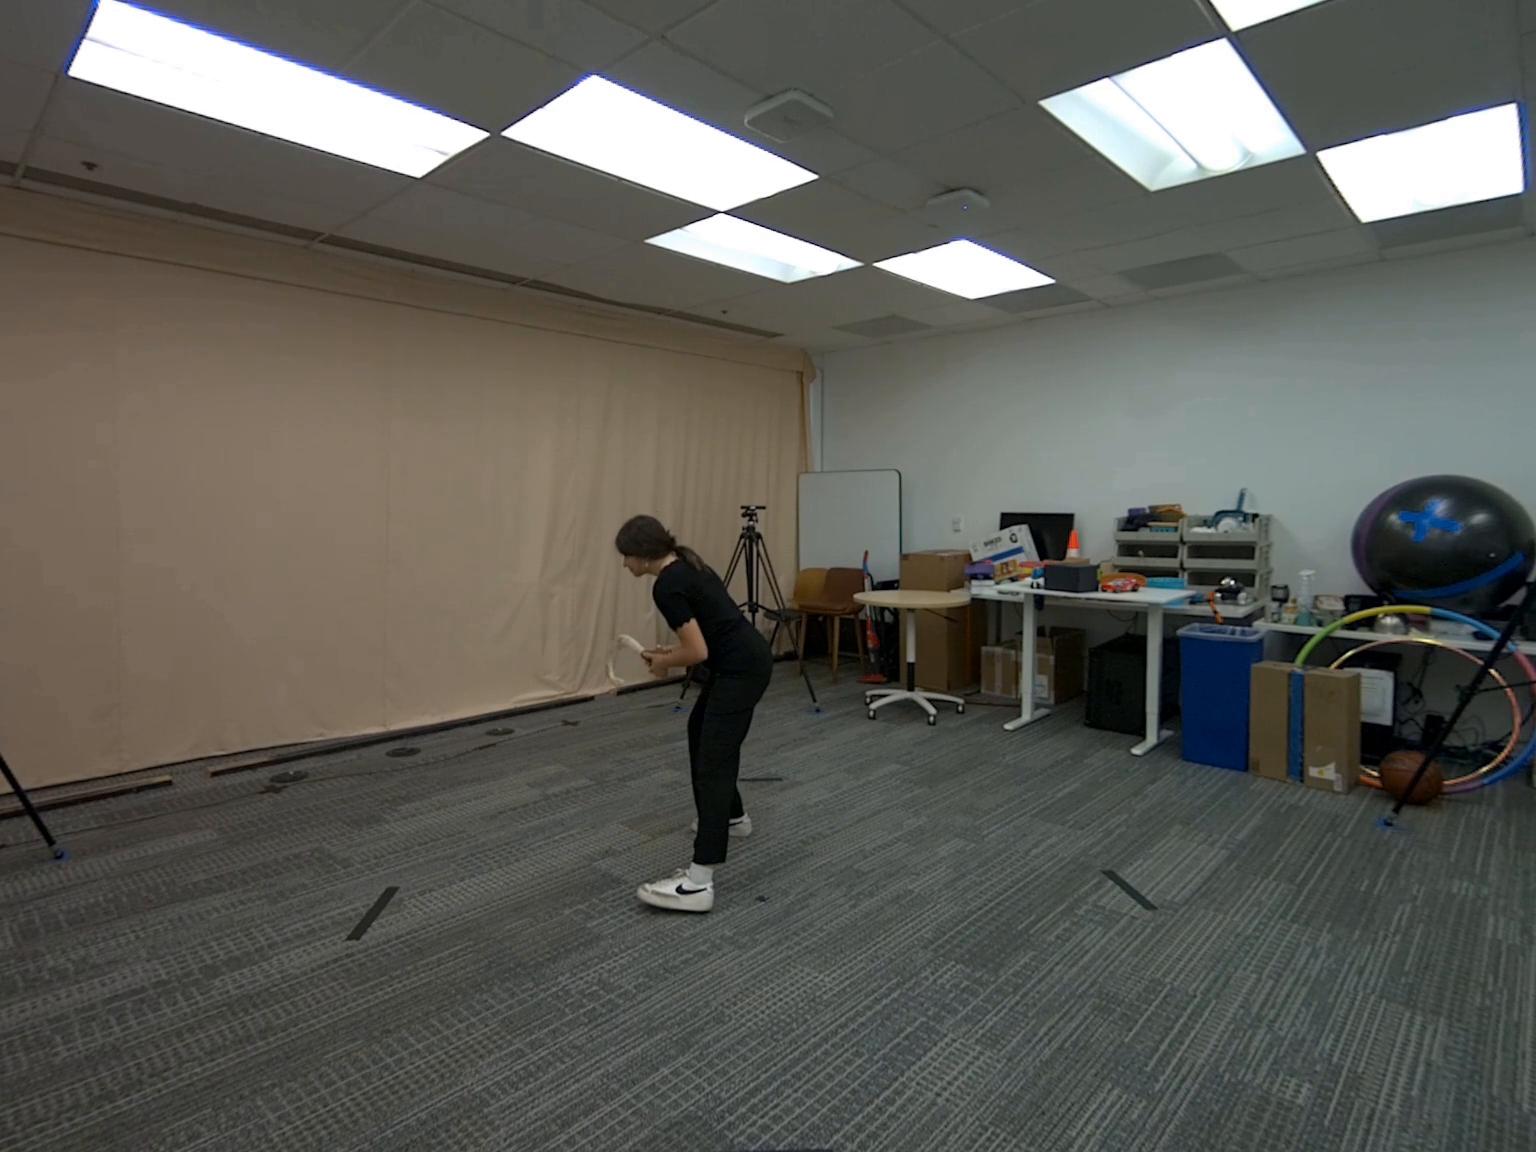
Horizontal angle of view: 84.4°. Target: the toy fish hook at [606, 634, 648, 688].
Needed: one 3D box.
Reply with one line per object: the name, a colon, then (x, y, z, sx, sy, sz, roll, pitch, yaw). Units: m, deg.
toy fish hook: (-0.551, 0.374, 3.560, 0.047, 0.225, 0.522, 15, -7, -37)
